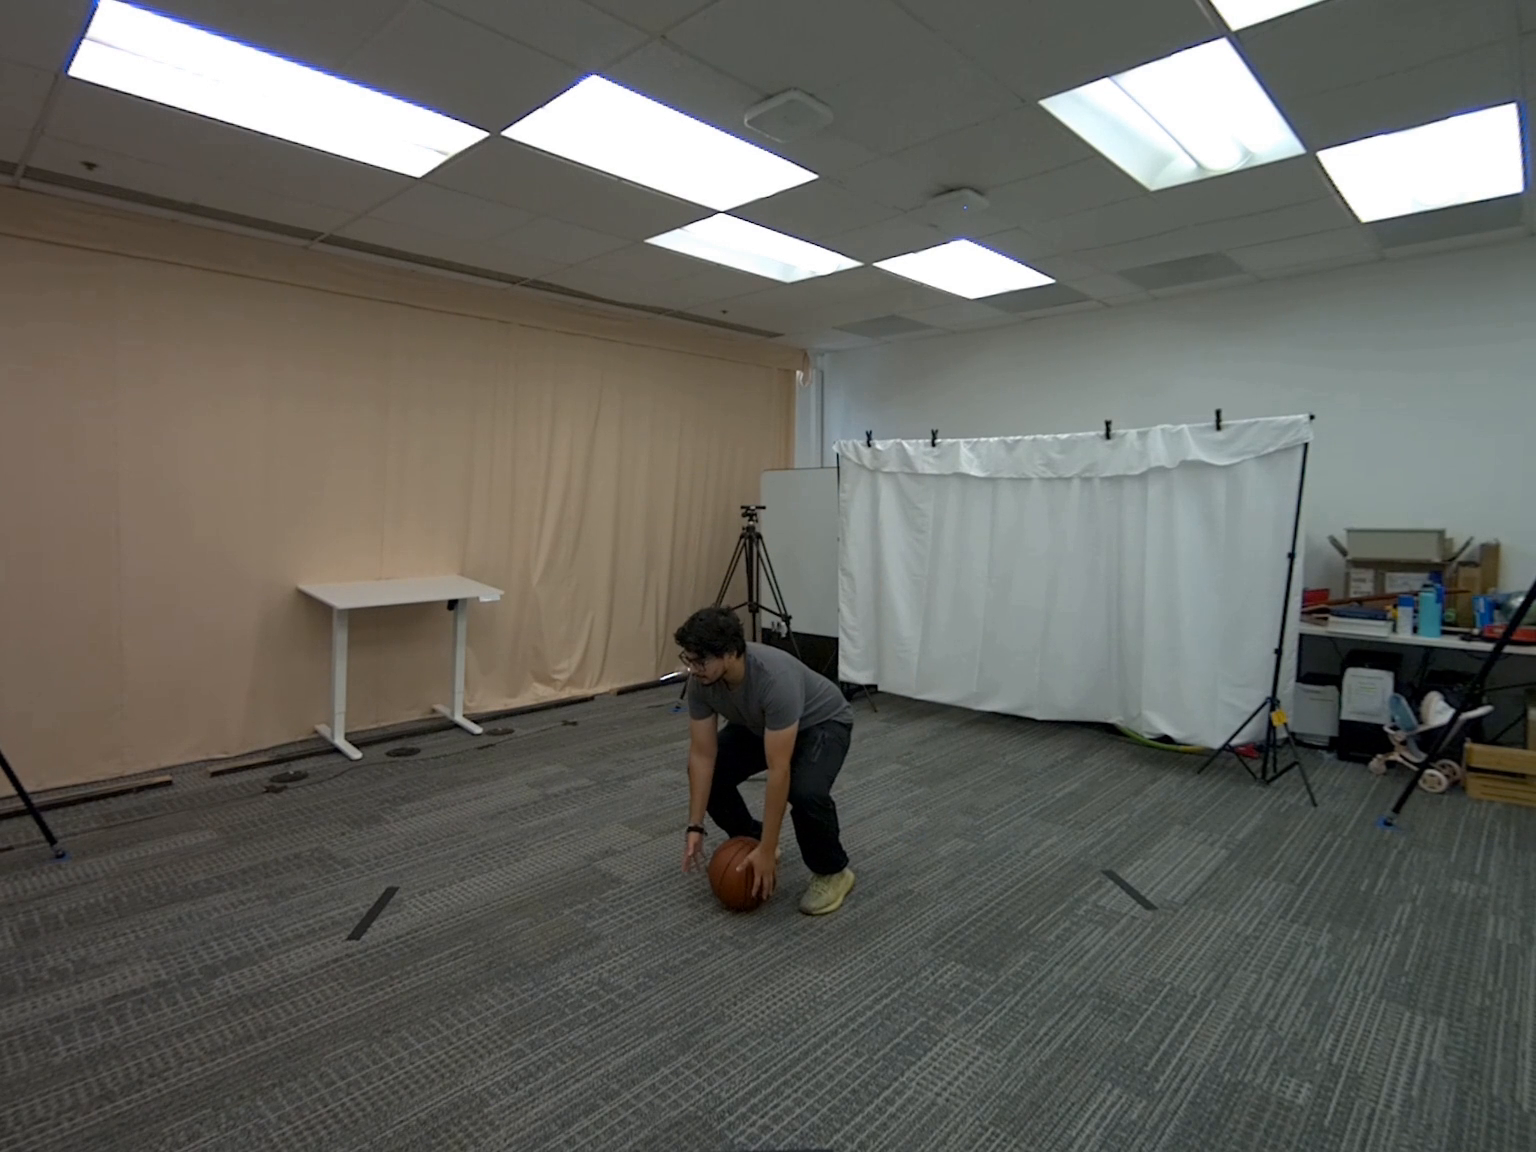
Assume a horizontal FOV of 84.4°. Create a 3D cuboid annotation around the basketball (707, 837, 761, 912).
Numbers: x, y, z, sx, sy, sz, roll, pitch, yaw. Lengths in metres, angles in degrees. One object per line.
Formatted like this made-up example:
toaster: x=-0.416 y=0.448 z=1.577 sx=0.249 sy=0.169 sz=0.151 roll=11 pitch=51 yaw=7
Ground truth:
basketball: x=-0.089 y=1.031 z=2.915 sx=0.236 sy=0.235 sz=0.237 roll=0 pitch=4 yaw=-2
